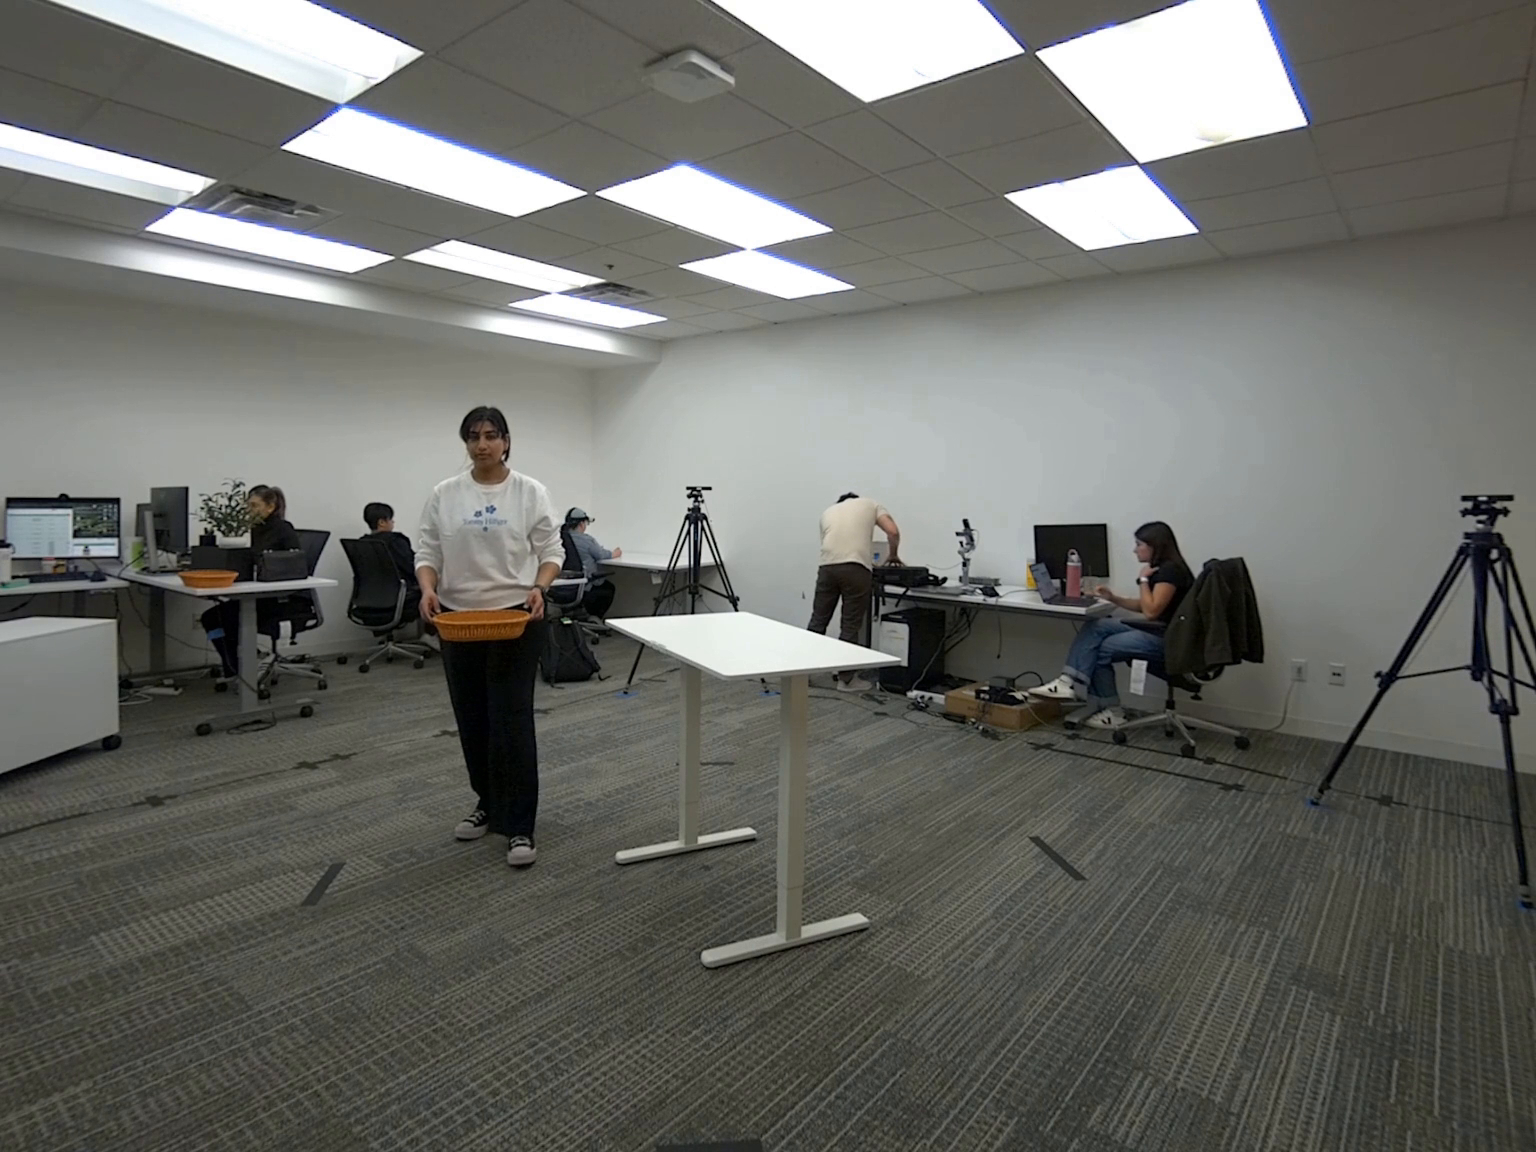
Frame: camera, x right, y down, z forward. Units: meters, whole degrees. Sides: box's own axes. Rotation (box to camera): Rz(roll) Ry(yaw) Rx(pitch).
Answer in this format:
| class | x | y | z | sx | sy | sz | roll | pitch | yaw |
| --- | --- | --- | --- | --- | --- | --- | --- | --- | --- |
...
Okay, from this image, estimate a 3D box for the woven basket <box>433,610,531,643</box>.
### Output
| class | x | y | z | sx | sy | sz | roll | pitch | yaw |
| --- | --- | --- | --- | --- | --- | --- | --- | --- | --- |
| woven basket | -1.057 | 0.177 | 3.102 | 0.345 | 0.073 | 0.258 | -2 | 8 | -15 |
